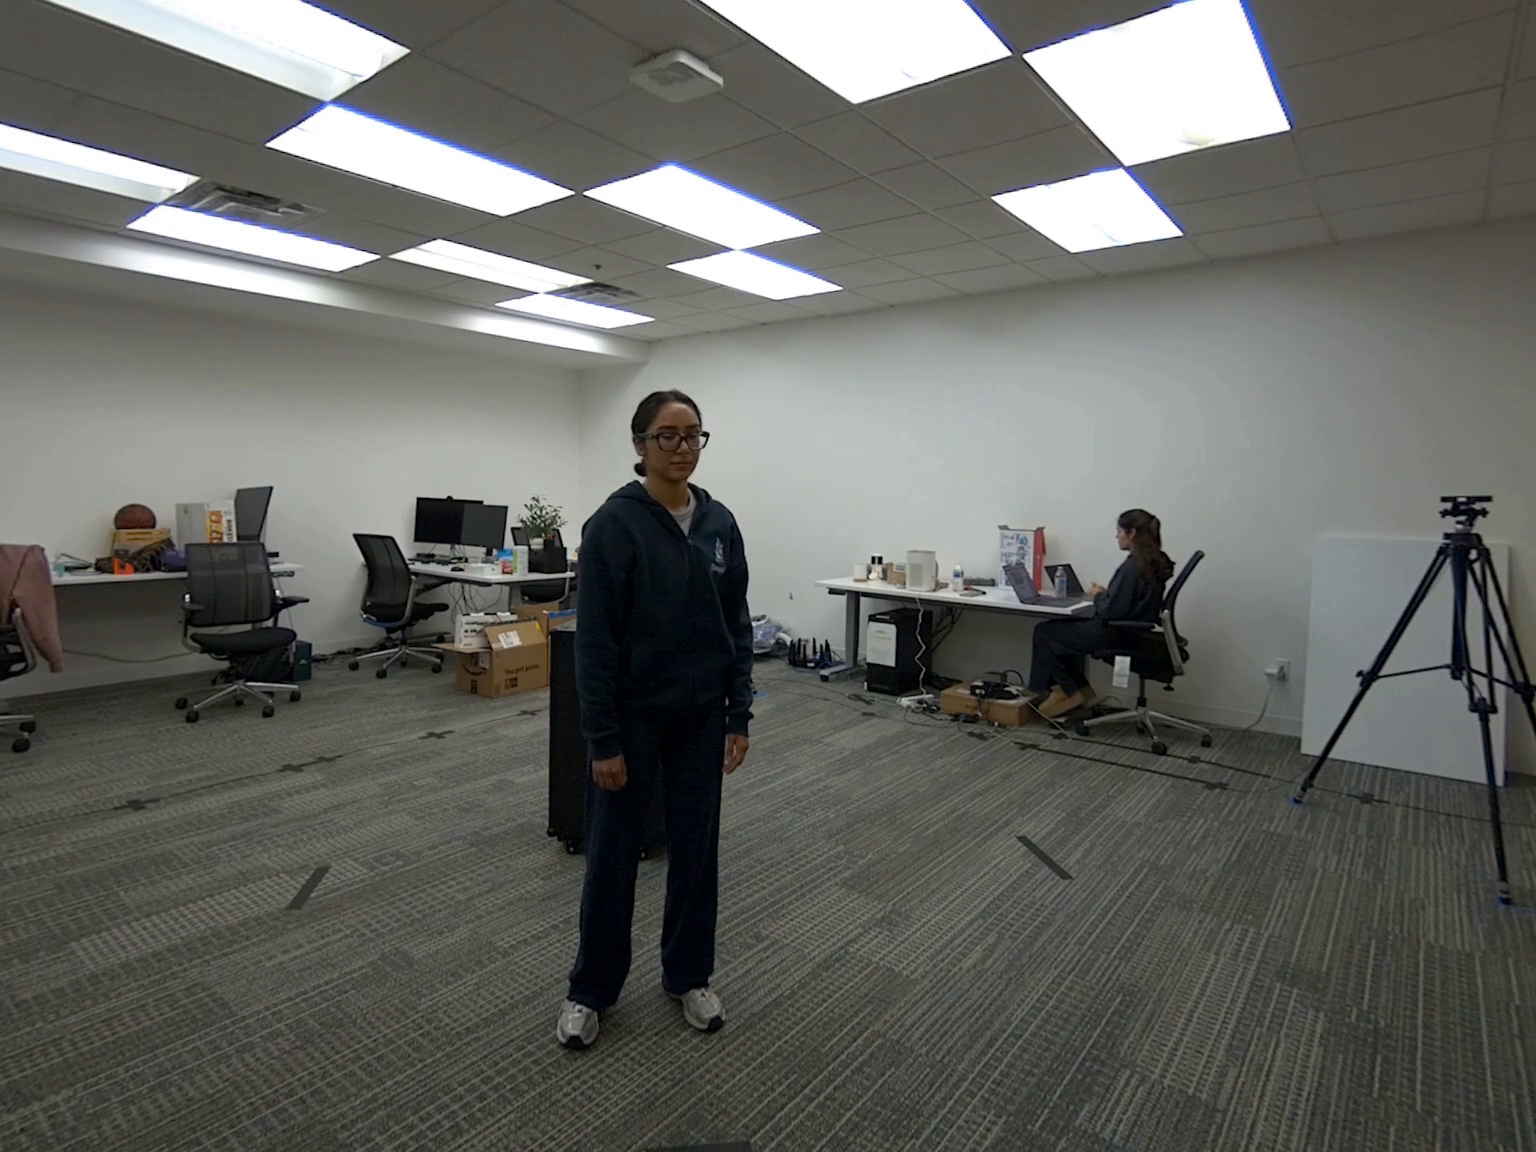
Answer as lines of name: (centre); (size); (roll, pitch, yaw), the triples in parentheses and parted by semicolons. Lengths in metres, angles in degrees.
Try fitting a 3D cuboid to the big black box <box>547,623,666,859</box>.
big black box: (-0.587, 0.611, 3.341); (0.526, 0.860, 0.393); (2, 2, 7)
